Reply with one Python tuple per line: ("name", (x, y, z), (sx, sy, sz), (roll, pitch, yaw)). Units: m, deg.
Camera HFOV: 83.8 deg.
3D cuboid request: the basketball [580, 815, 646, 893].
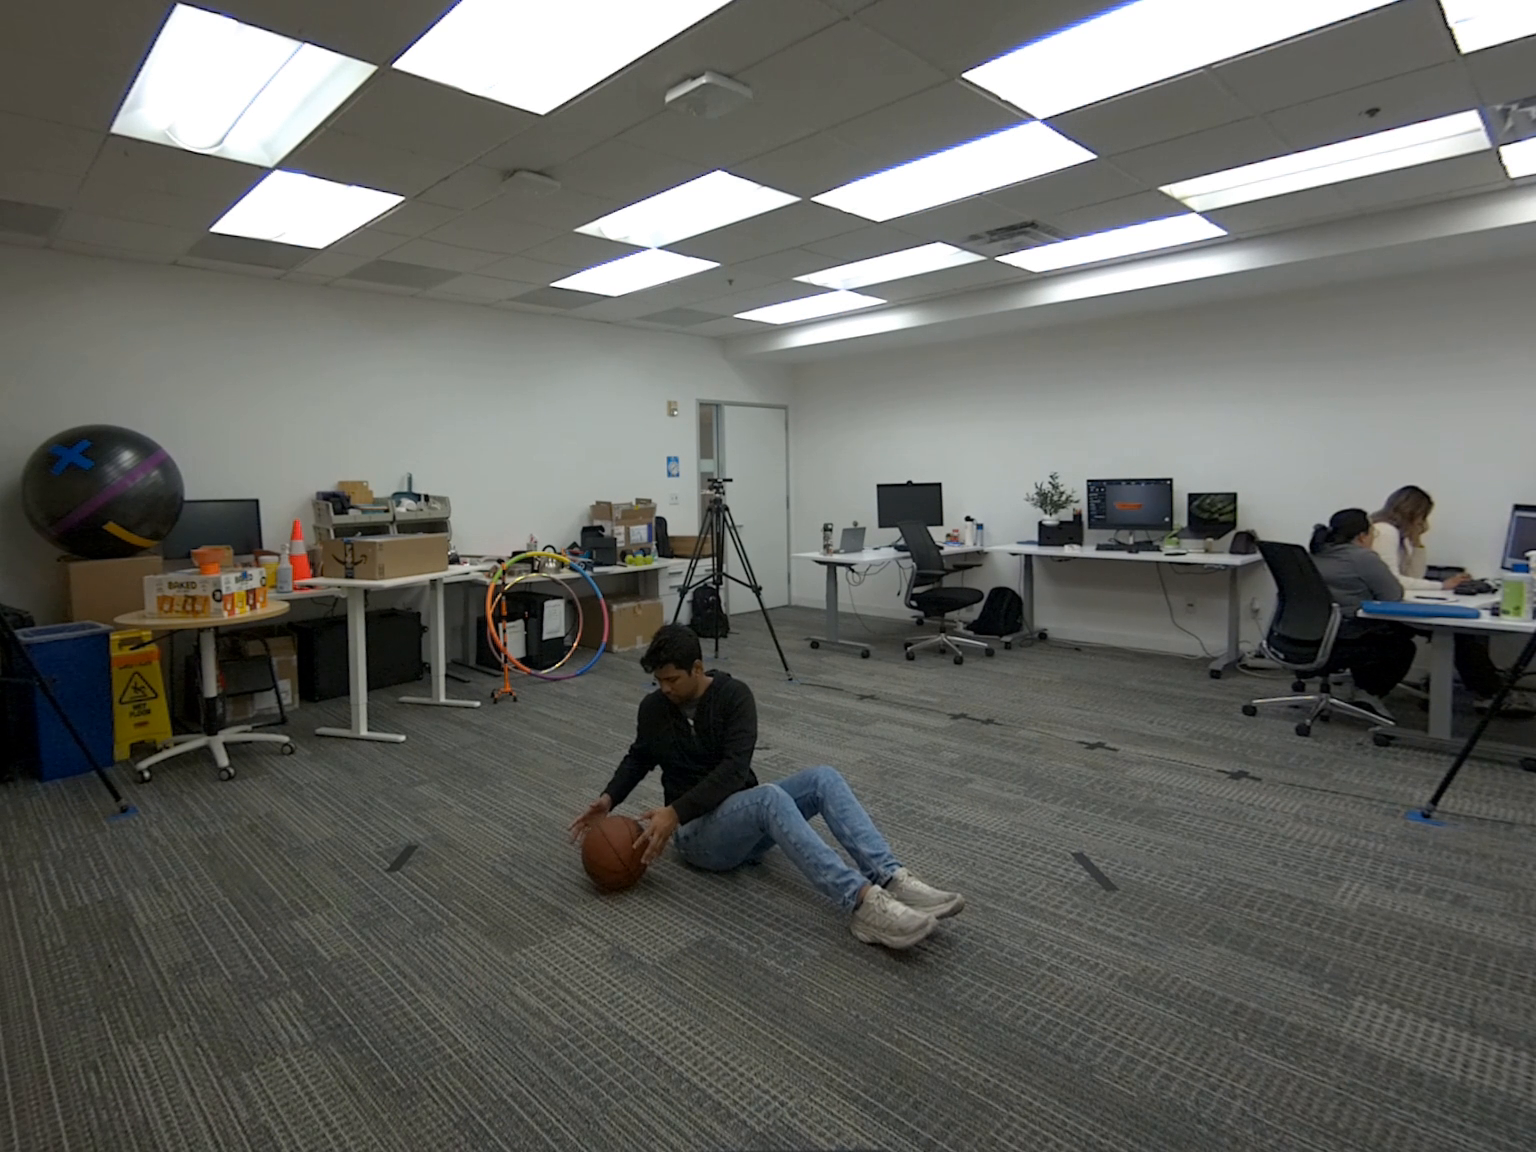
("basketball", (-0.524, 0.957, 2.947), (0.236, 0.235, 0.237), (-1, 5, -2))
